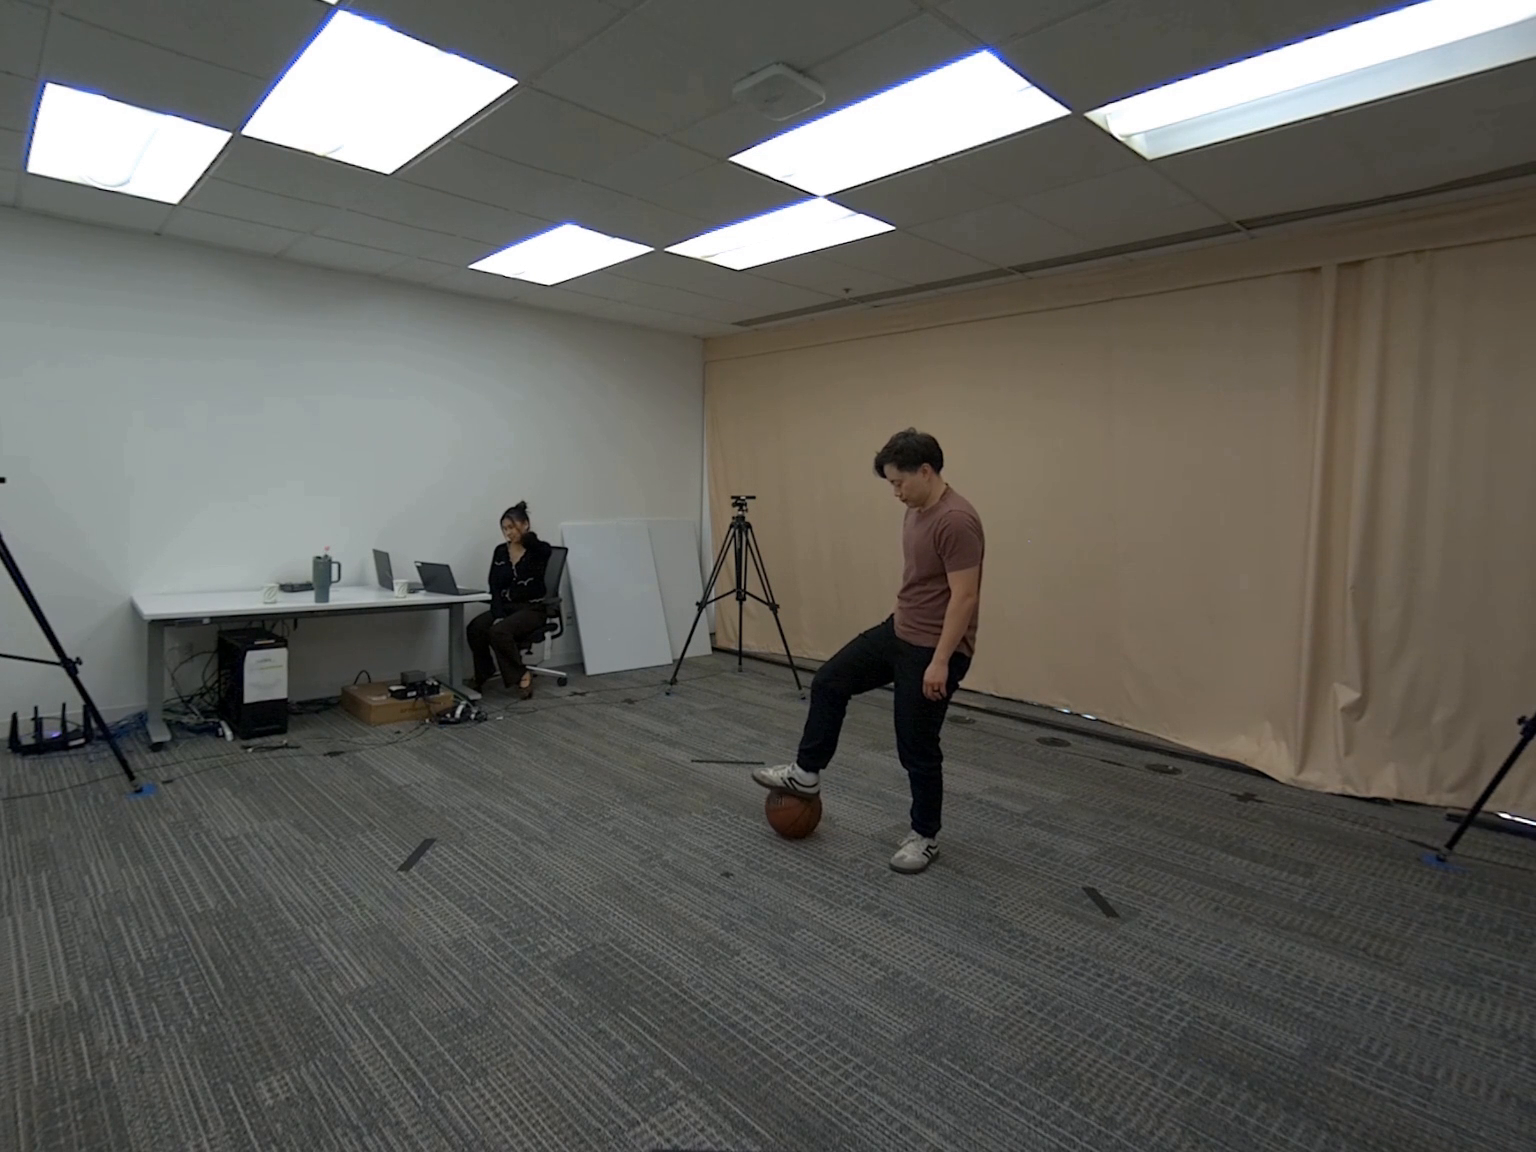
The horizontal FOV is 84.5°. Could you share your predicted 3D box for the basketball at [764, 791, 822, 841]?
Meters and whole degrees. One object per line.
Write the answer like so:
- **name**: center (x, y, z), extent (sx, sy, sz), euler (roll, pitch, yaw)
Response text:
- **basketball**: center (0.098, 0.961, 3.484), extent (0.236, 0.235, 0.237), euler (1, 4, -1)
